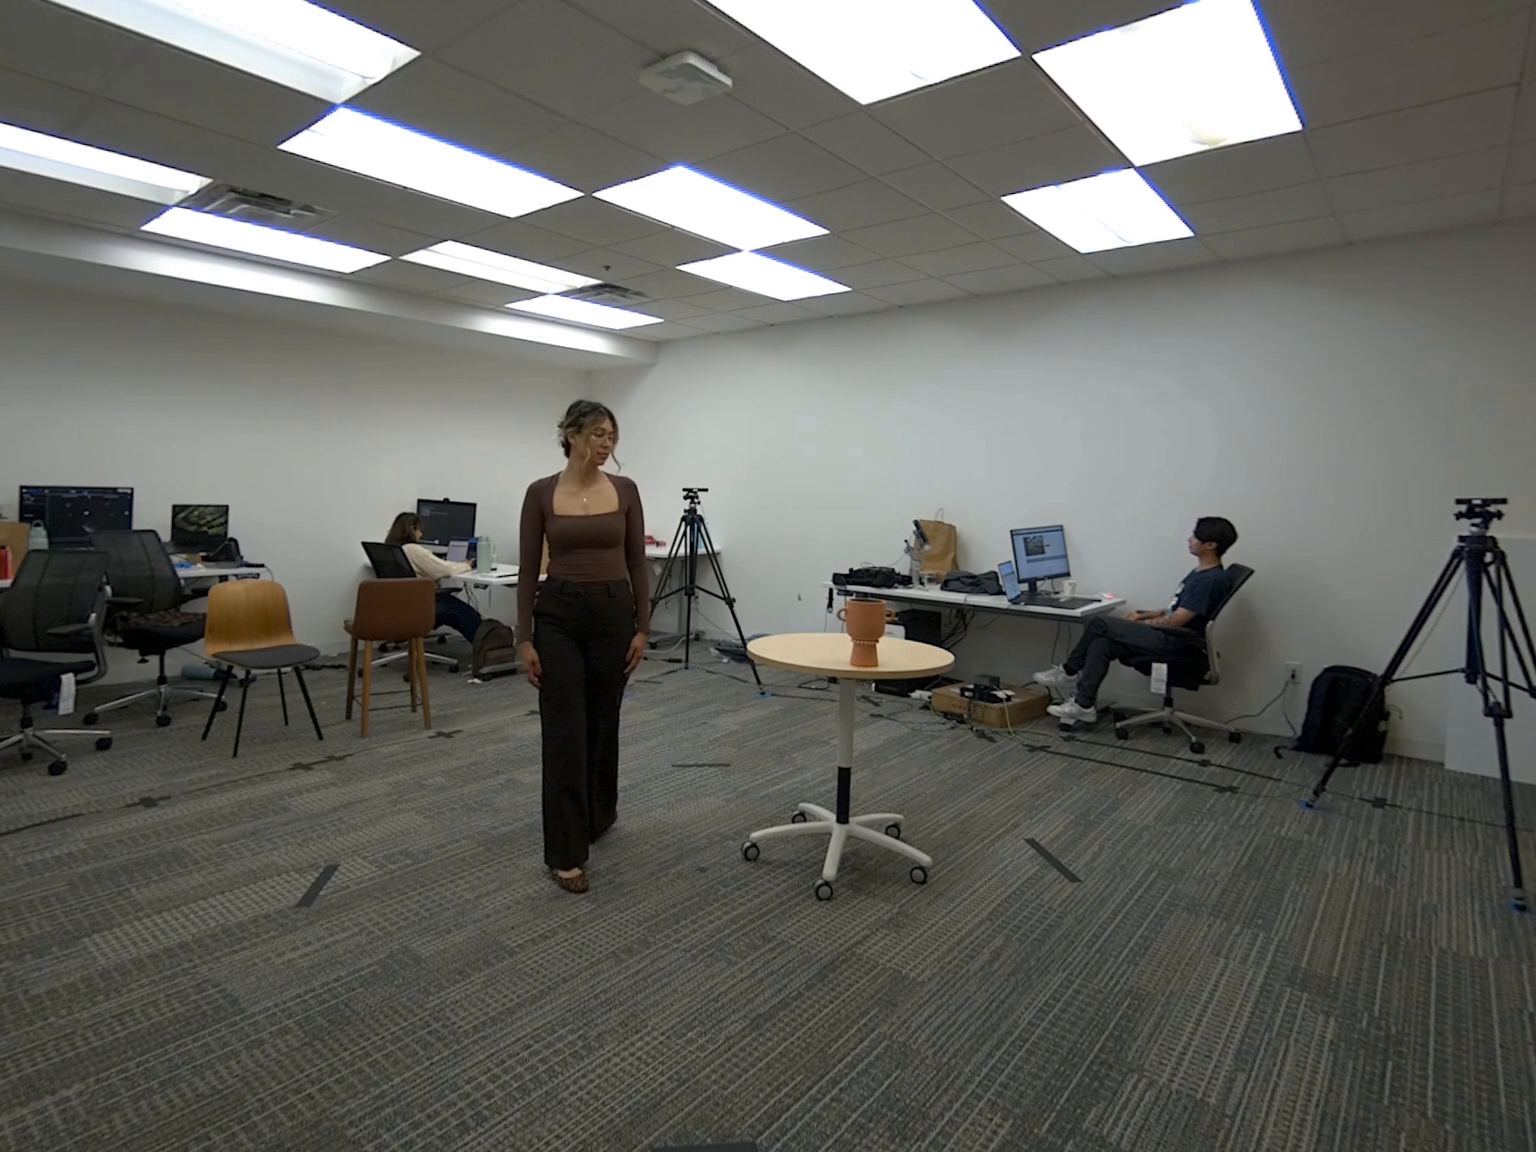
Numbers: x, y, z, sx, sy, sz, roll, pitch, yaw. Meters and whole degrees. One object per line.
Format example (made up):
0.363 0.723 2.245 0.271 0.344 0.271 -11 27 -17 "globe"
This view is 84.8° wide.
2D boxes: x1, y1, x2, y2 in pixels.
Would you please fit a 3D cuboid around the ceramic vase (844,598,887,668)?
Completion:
0.323 0.189 2.917 0.164 0.219 0.131 3 4 35 "ceramic vase"
